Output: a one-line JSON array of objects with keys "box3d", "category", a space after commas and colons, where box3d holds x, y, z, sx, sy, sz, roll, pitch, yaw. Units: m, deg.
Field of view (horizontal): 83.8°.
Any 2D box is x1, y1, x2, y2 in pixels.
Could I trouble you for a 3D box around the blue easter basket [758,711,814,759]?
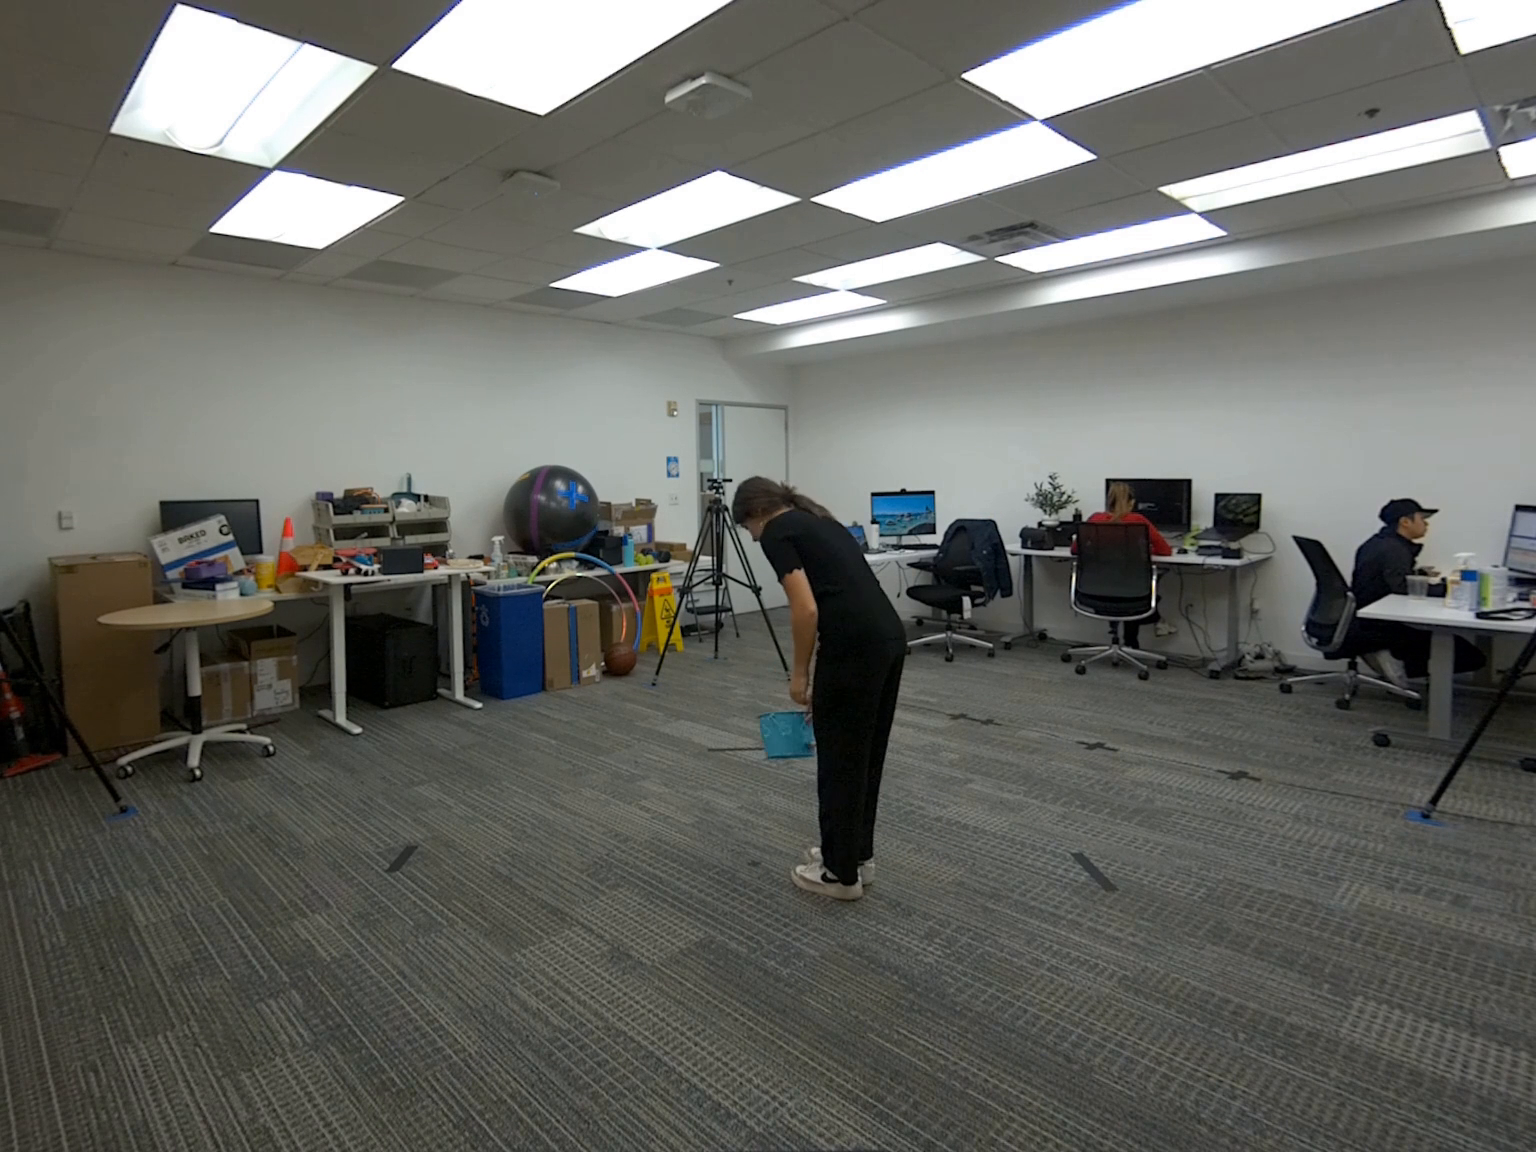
[{"box3d": [0.081, 0.594, 3.176, 0.243, 0.158, 0.240, -2, -16, -2], "category": "blue easter basket"}]
